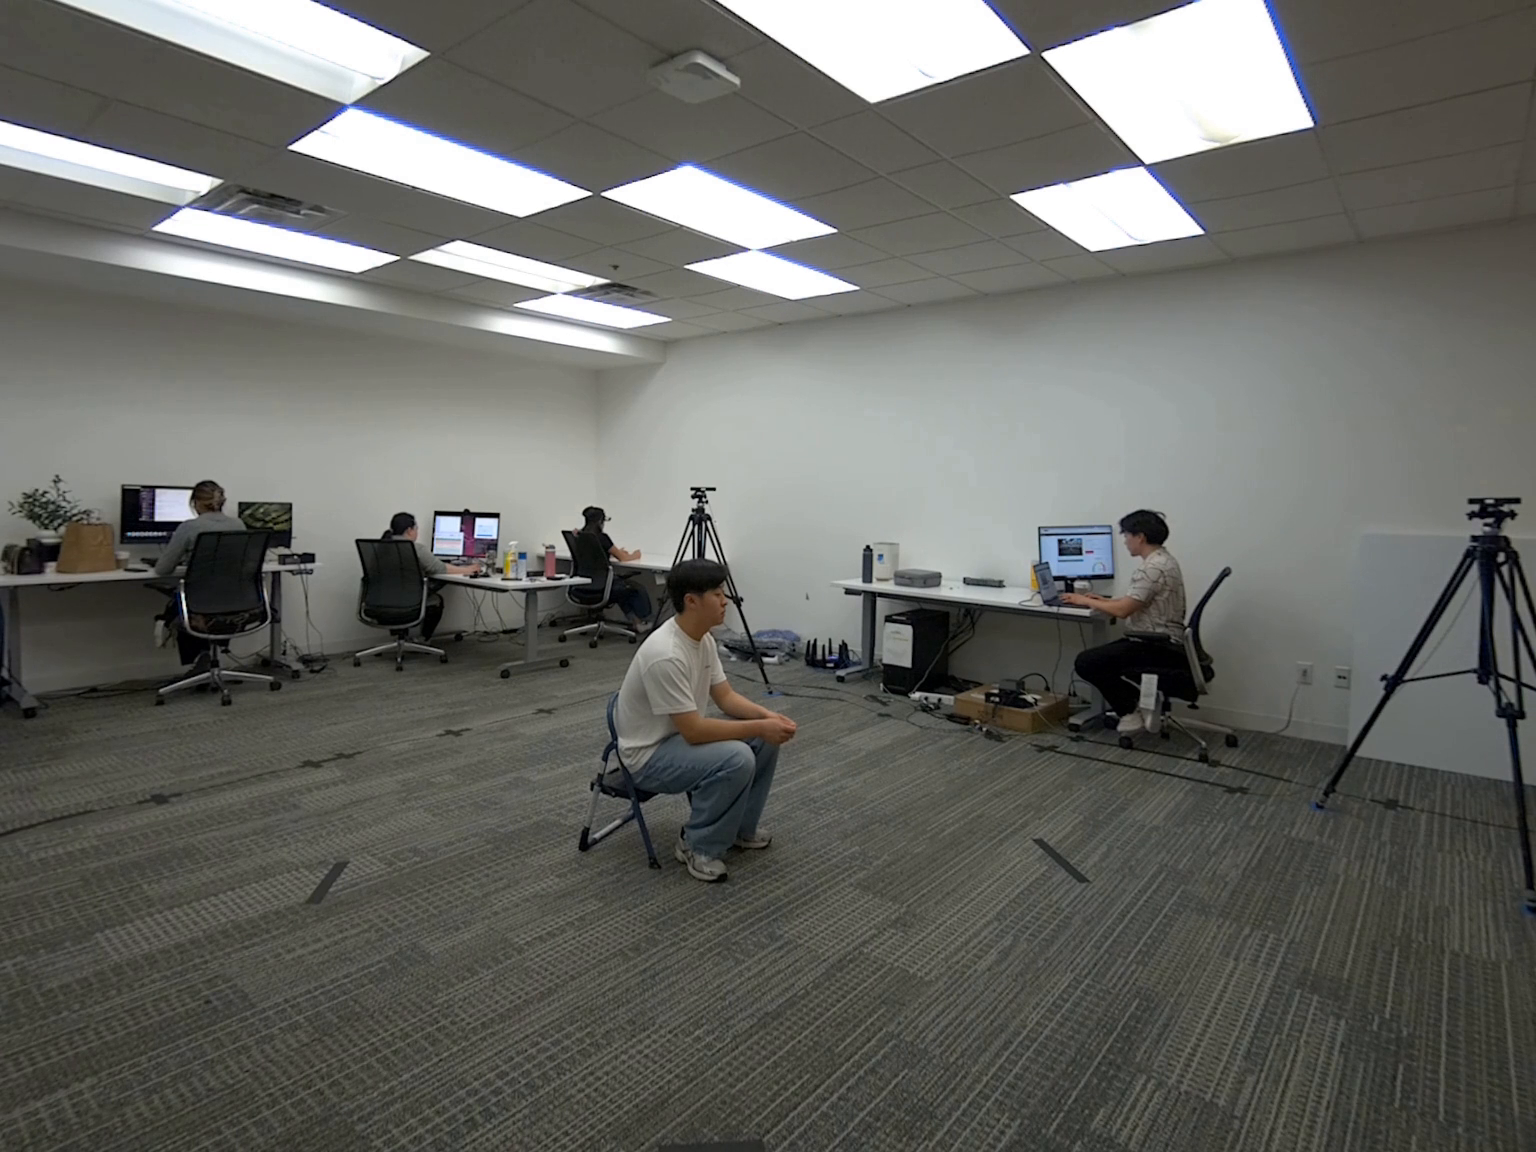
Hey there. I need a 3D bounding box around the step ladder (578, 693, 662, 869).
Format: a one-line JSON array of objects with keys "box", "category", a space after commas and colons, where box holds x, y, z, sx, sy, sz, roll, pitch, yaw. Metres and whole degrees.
[{"box": [-0.501, 0.738, 3.348, 0.357, 0.605, 0.421, 2, 3, 22], "category": "step ladder"}]
